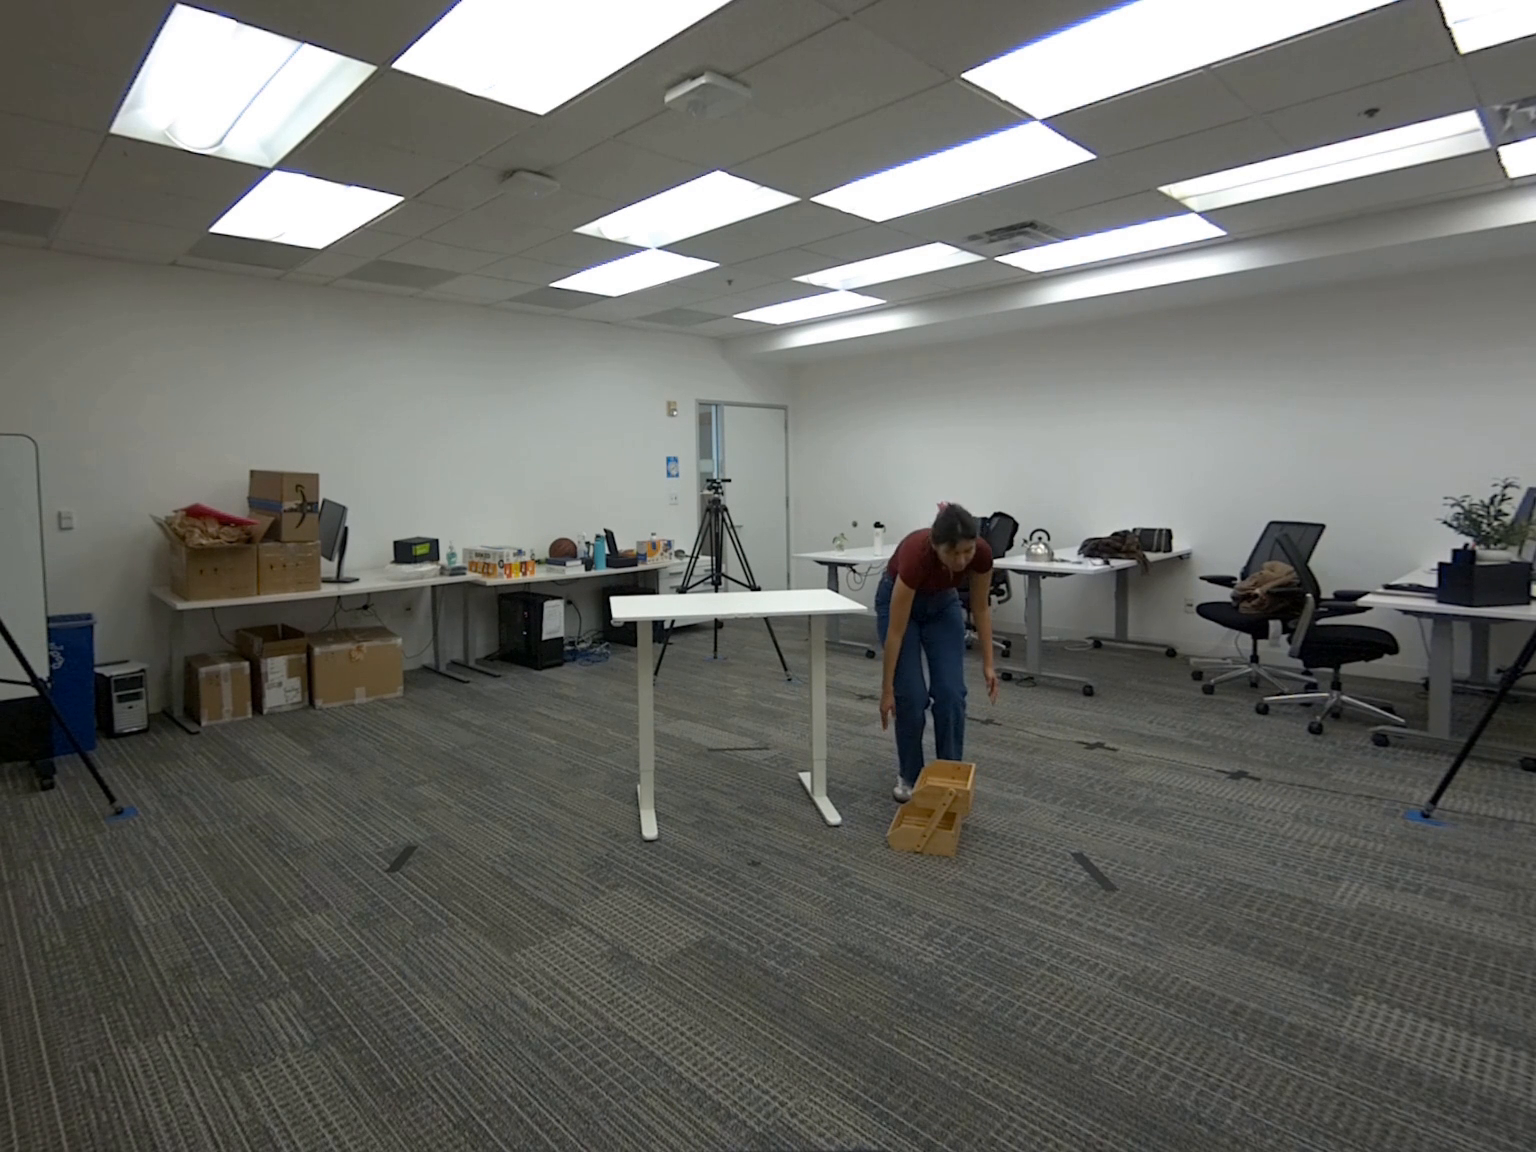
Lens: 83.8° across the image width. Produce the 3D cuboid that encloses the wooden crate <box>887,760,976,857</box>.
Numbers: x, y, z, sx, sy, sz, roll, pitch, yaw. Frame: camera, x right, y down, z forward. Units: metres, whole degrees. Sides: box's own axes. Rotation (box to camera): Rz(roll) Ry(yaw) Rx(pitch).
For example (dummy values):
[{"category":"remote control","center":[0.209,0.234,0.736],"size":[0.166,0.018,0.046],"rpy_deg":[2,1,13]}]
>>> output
[{"category":"wooden crate","center":[0.634,0.880,3.294],"size":[0.308,0.272,0.319],"rpy_deg":[1,5,19]}]
